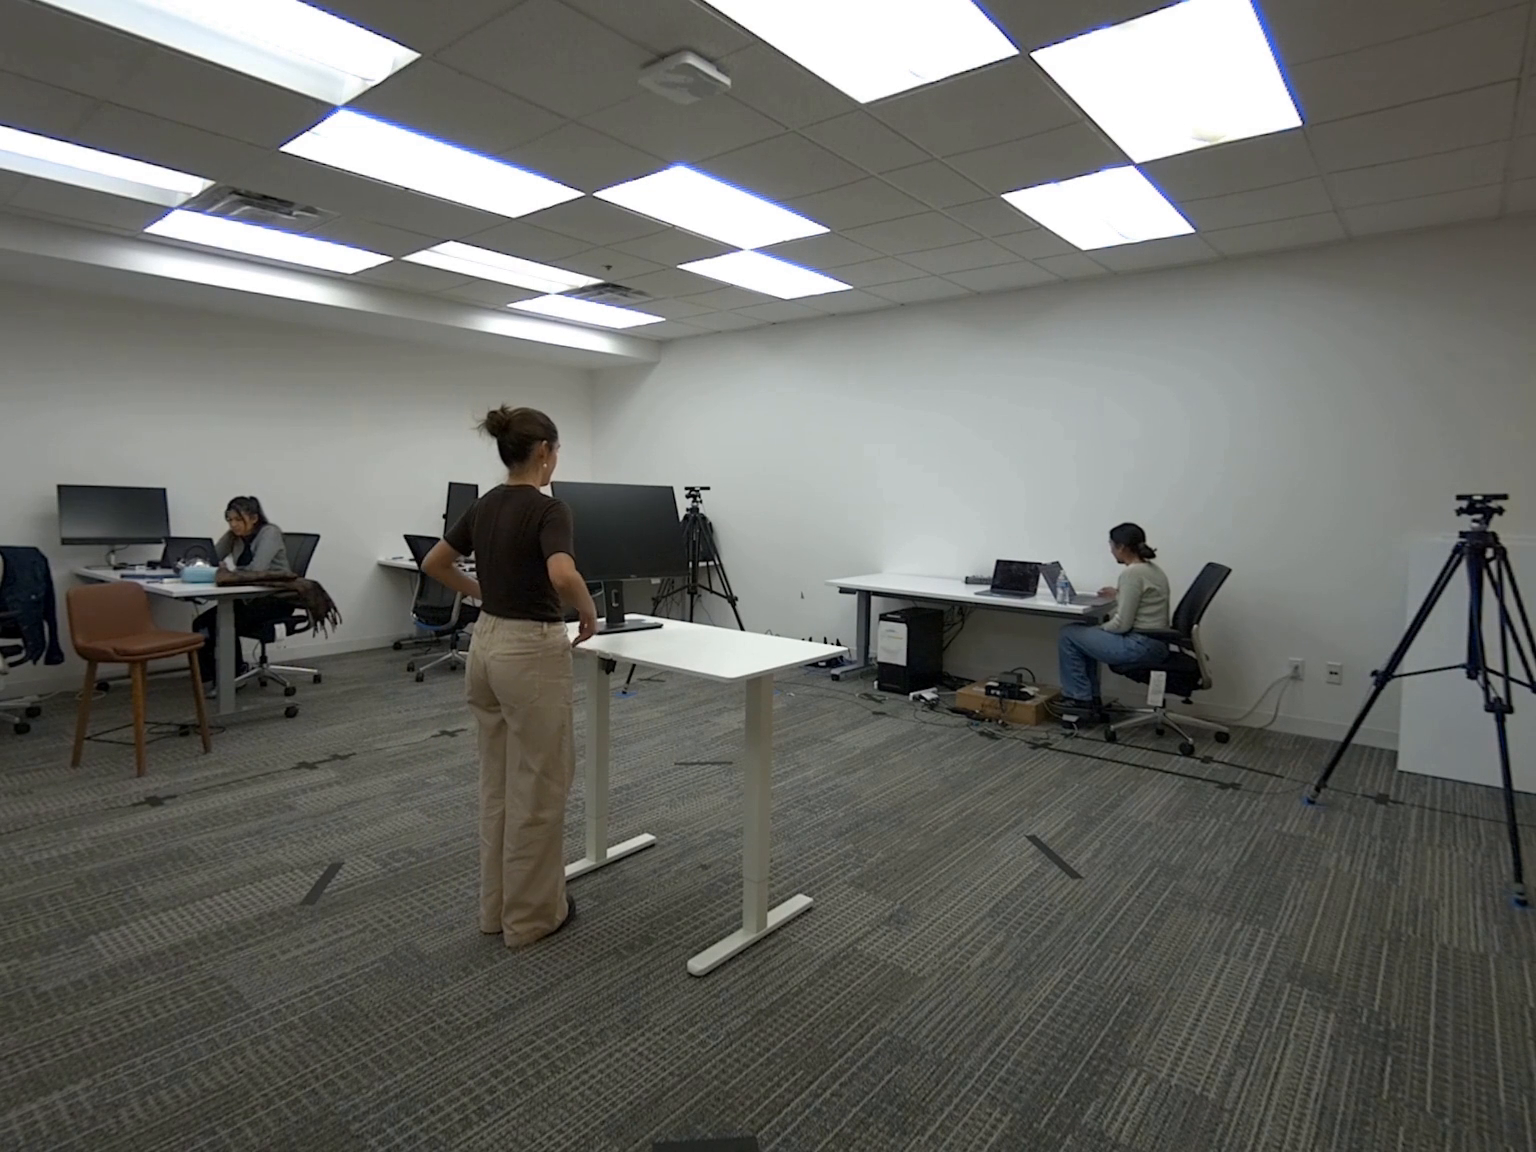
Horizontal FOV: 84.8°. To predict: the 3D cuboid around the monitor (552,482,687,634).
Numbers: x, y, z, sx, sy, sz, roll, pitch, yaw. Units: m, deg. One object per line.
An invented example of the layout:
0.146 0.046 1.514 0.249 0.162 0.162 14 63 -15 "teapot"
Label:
-0.551 -0.070 3.036 0.522 0.523 0.193 -2 -1 -44 "monitor"
